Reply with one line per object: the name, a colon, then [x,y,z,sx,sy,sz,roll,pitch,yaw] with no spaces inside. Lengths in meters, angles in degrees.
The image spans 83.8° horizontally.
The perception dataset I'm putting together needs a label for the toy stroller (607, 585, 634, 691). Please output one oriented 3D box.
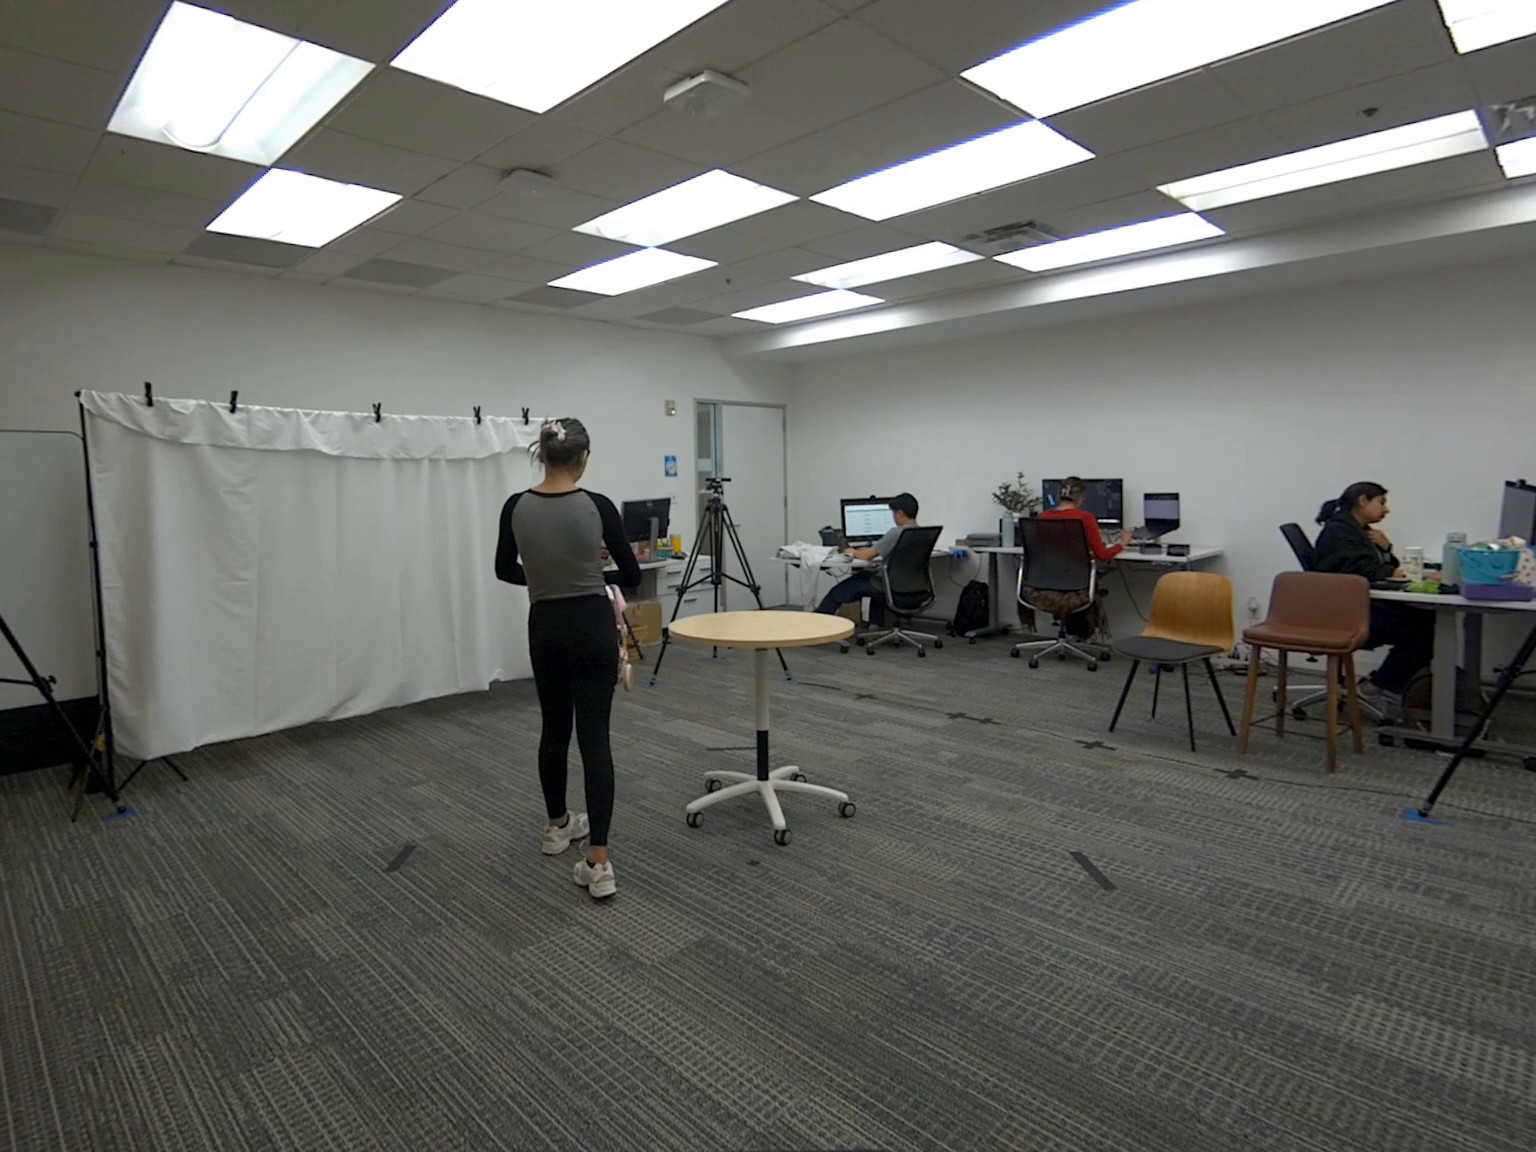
toy stroller: [-0.690,0.243,3.524,0.283,0.531,0.342,-2,7,5]
